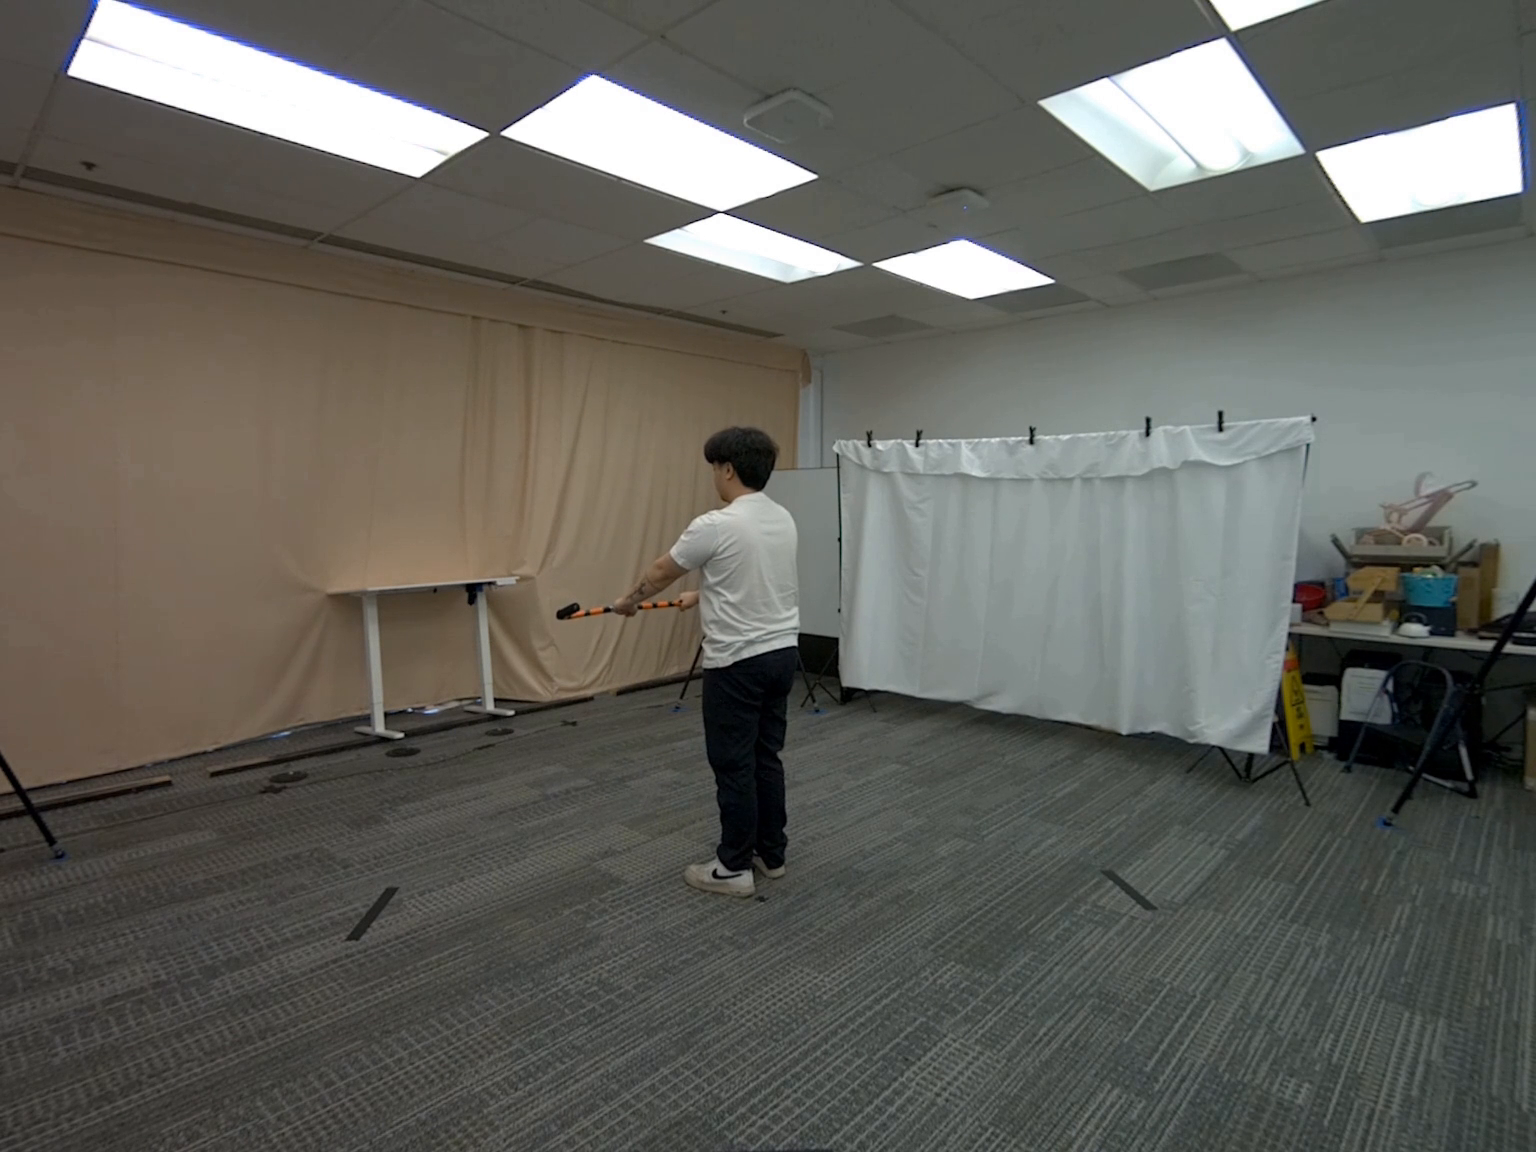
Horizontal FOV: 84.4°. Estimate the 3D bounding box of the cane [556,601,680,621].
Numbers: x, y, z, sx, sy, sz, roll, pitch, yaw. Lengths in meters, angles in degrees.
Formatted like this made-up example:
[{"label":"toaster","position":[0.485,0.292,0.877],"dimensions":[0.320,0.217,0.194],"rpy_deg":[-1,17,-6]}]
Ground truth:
[{"label":"cane","position":[-0.463,0.097,3.393],"dimensions":[0.880,0.153,0.211],"rpy_deg":[-5,-12,-46]}]
